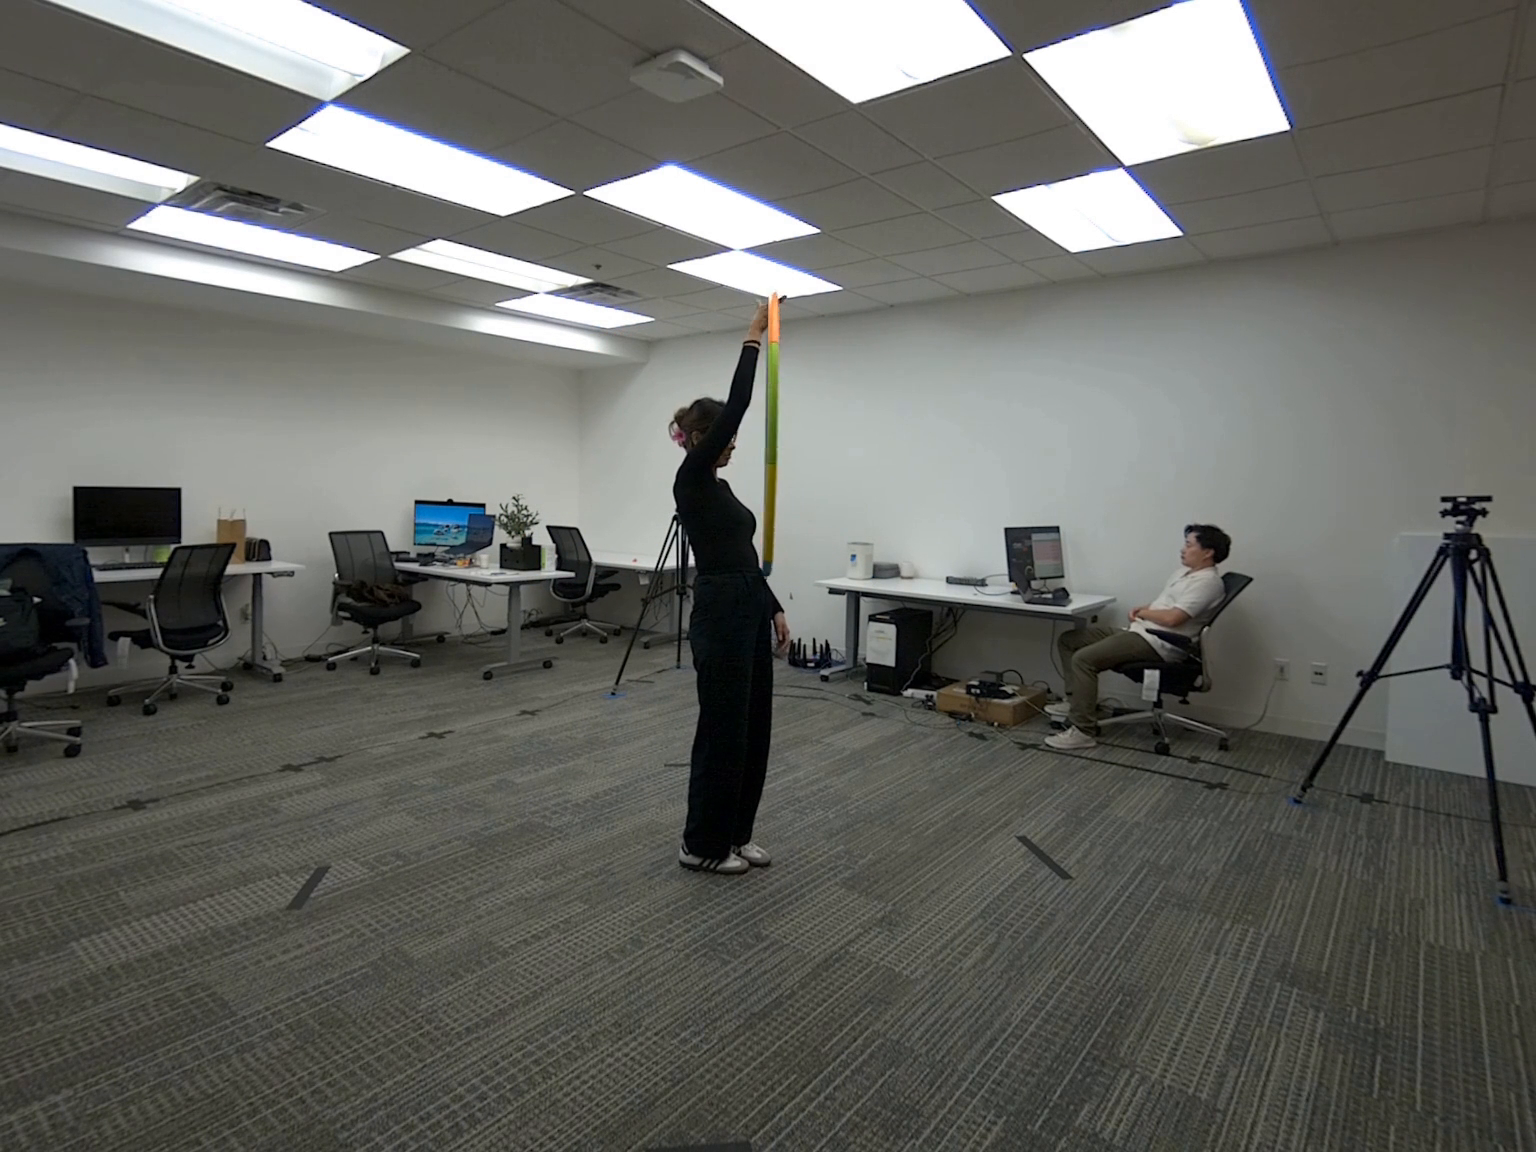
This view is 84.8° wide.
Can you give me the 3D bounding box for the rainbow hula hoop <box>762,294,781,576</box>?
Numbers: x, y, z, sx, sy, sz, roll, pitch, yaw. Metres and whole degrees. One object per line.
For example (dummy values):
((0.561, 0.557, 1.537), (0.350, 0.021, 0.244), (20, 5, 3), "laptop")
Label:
((-0.010, -0.496, 3.019), (0.052, 0.982, 0.987), (1, 4, -1), "rainbow hula hoop")
